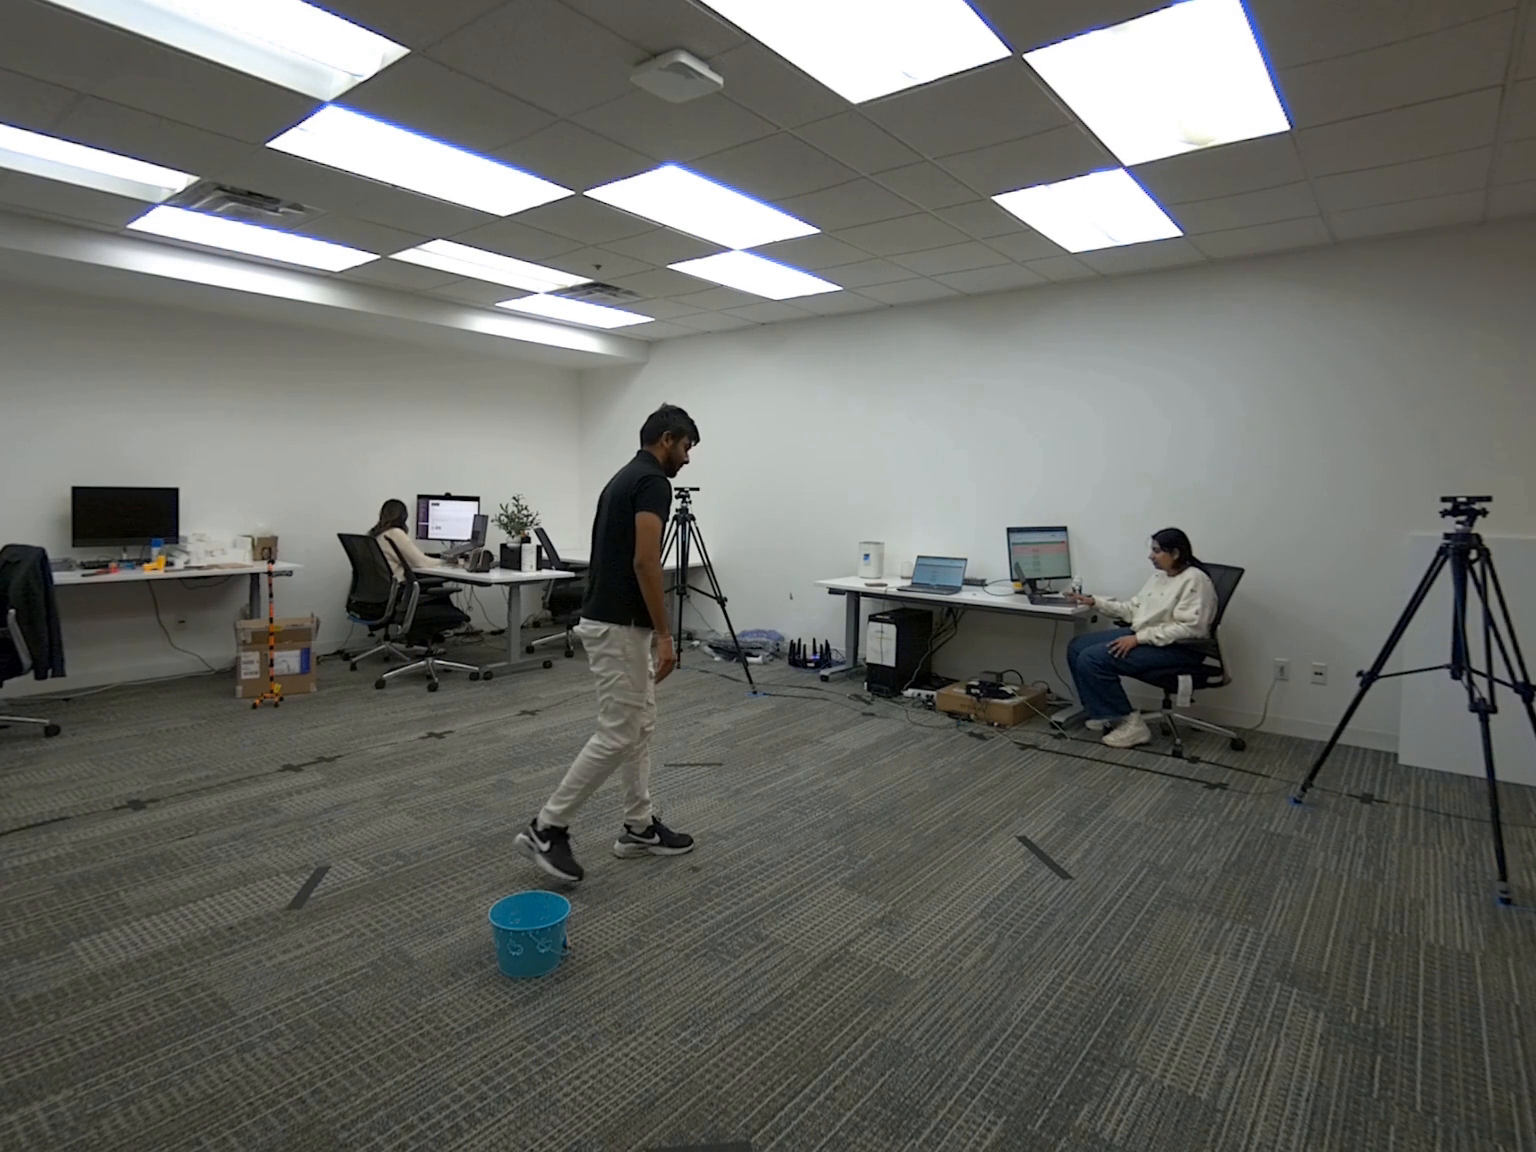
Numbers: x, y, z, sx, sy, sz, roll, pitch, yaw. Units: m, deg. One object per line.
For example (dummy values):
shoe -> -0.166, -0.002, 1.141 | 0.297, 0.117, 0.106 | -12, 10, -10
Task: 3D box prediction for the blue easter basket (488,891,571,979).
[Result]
blue easter basket -> -0.701, 1.044, 2.477 | 0.243, 0.155, 0.245 | 0, 5, -2
